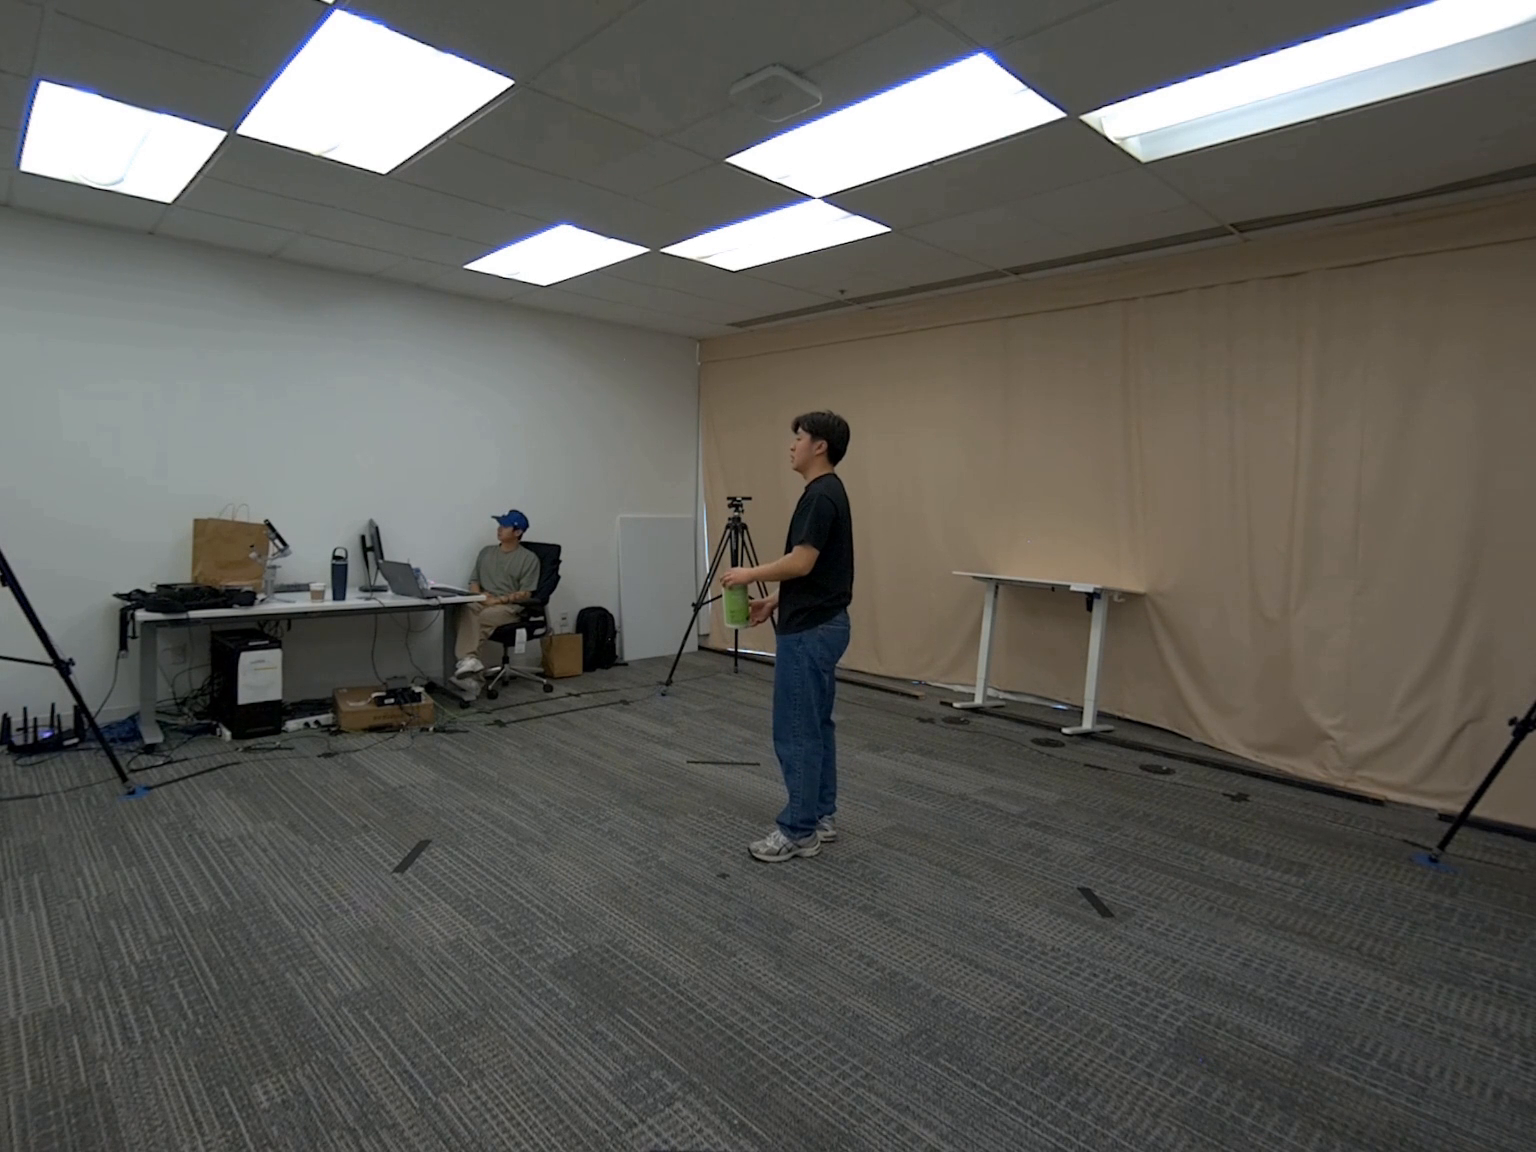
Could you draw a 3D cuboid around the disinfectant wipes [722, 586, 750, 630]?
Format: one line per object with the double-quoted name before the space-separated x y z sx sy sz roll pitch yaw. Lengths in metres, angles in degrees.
"disinfectant wipes" -0.143 0.101 3.497 0.118 0.216 0.119 -2 11 -1
